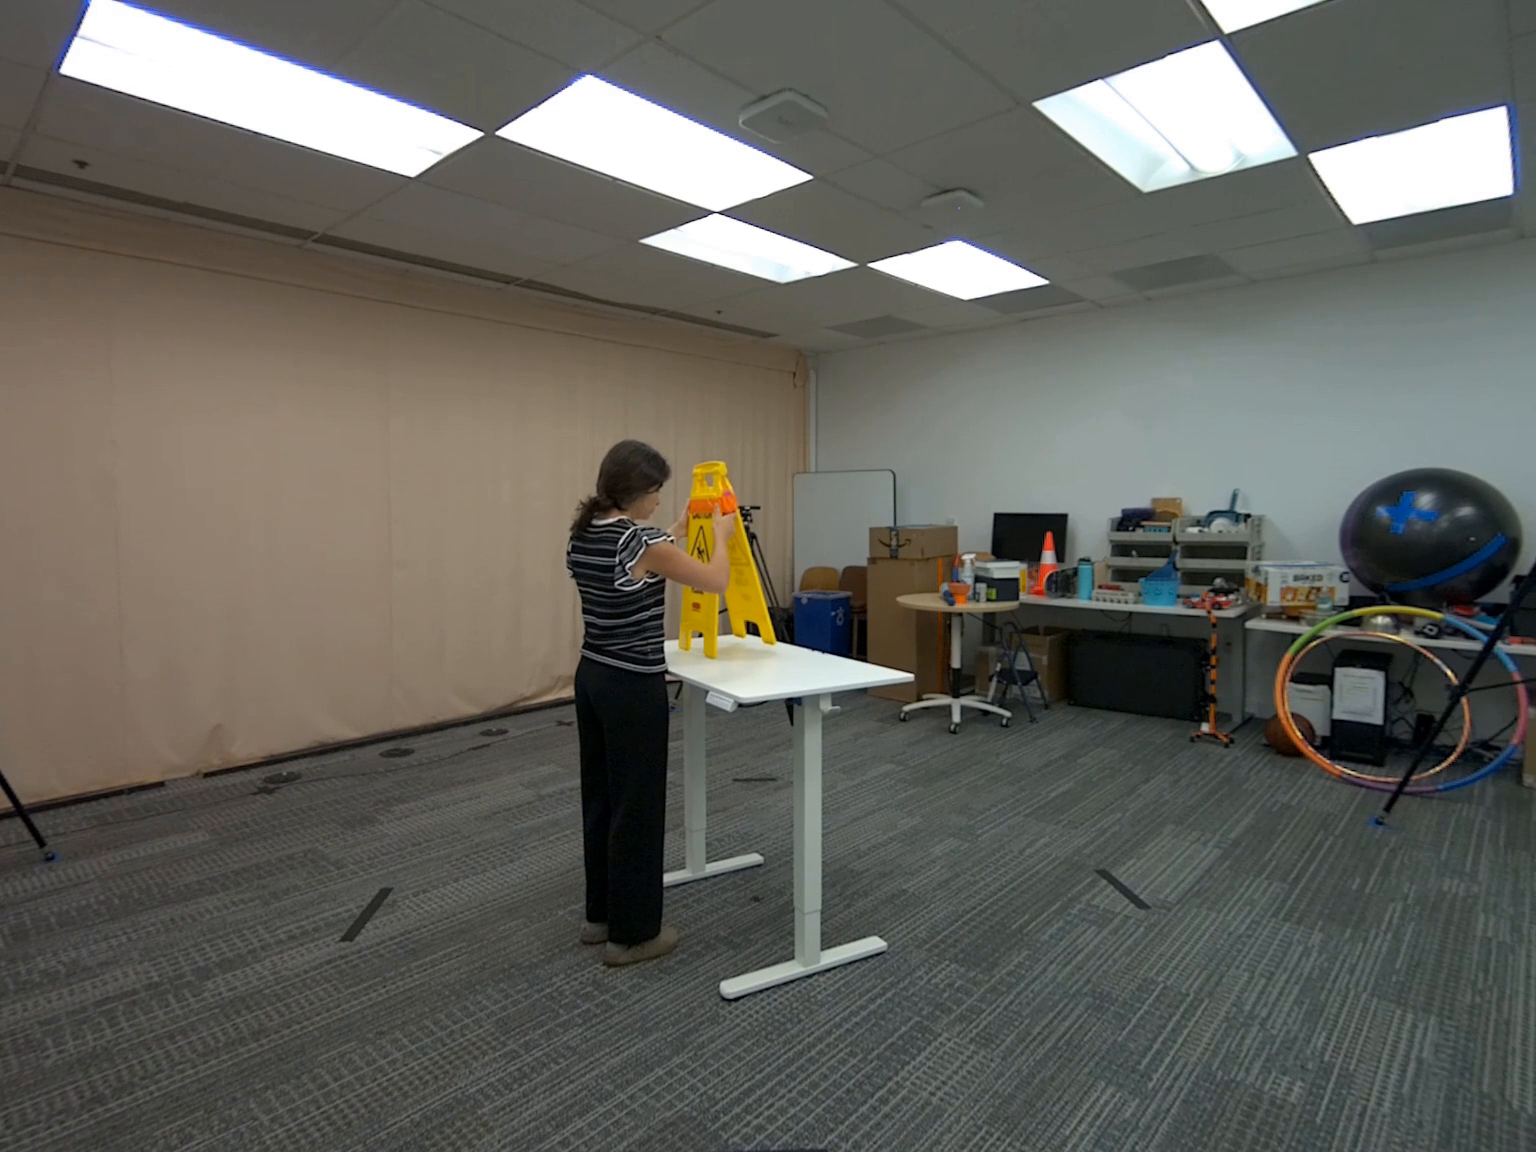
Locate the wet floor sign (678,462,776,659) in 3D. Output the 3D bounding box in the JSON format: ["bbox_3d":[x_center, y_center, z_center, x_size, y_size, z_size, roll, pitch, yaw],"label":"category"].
[{"bbox_3d":[-0.173,-0.070,2.958,0.282,0.644,0.290,-7,6,-30],"label":"wet floor sign"}]
